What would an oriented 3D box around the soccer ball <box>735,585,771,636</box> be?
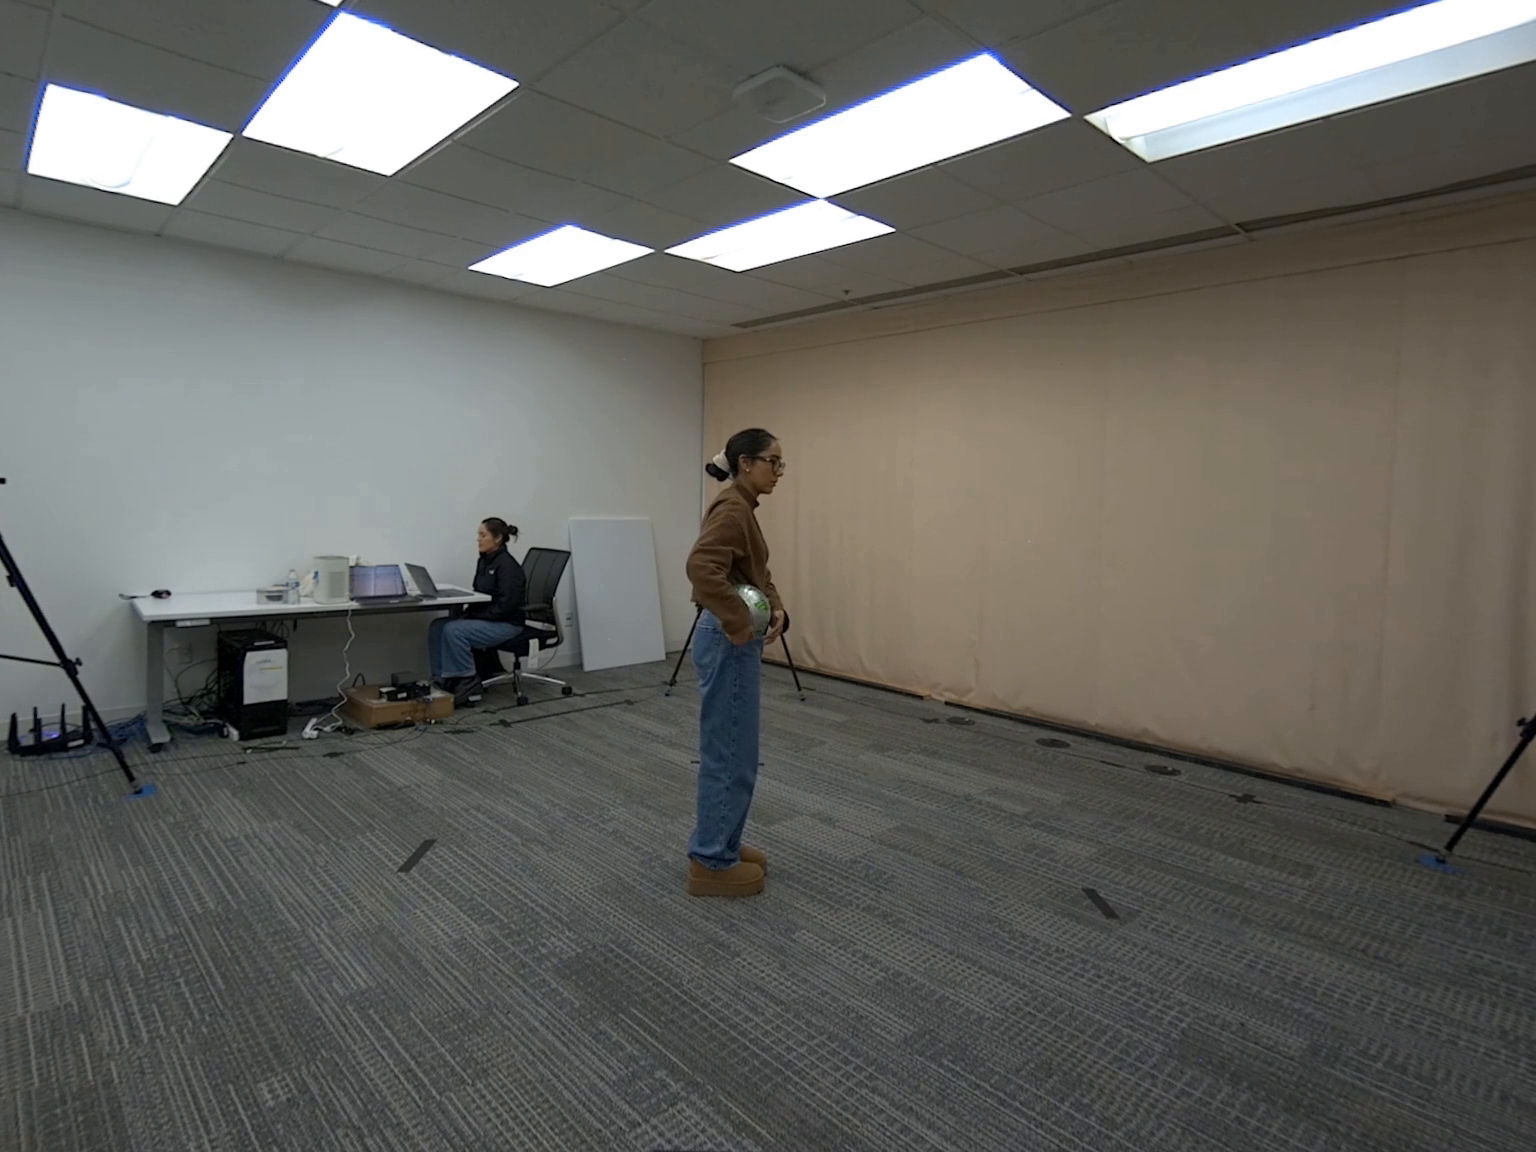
[{"bbox_3d":[-0.093,0.123,2.795,0.187,0.187,0.188,1,4,-1],"label":"soccer ball"}]
